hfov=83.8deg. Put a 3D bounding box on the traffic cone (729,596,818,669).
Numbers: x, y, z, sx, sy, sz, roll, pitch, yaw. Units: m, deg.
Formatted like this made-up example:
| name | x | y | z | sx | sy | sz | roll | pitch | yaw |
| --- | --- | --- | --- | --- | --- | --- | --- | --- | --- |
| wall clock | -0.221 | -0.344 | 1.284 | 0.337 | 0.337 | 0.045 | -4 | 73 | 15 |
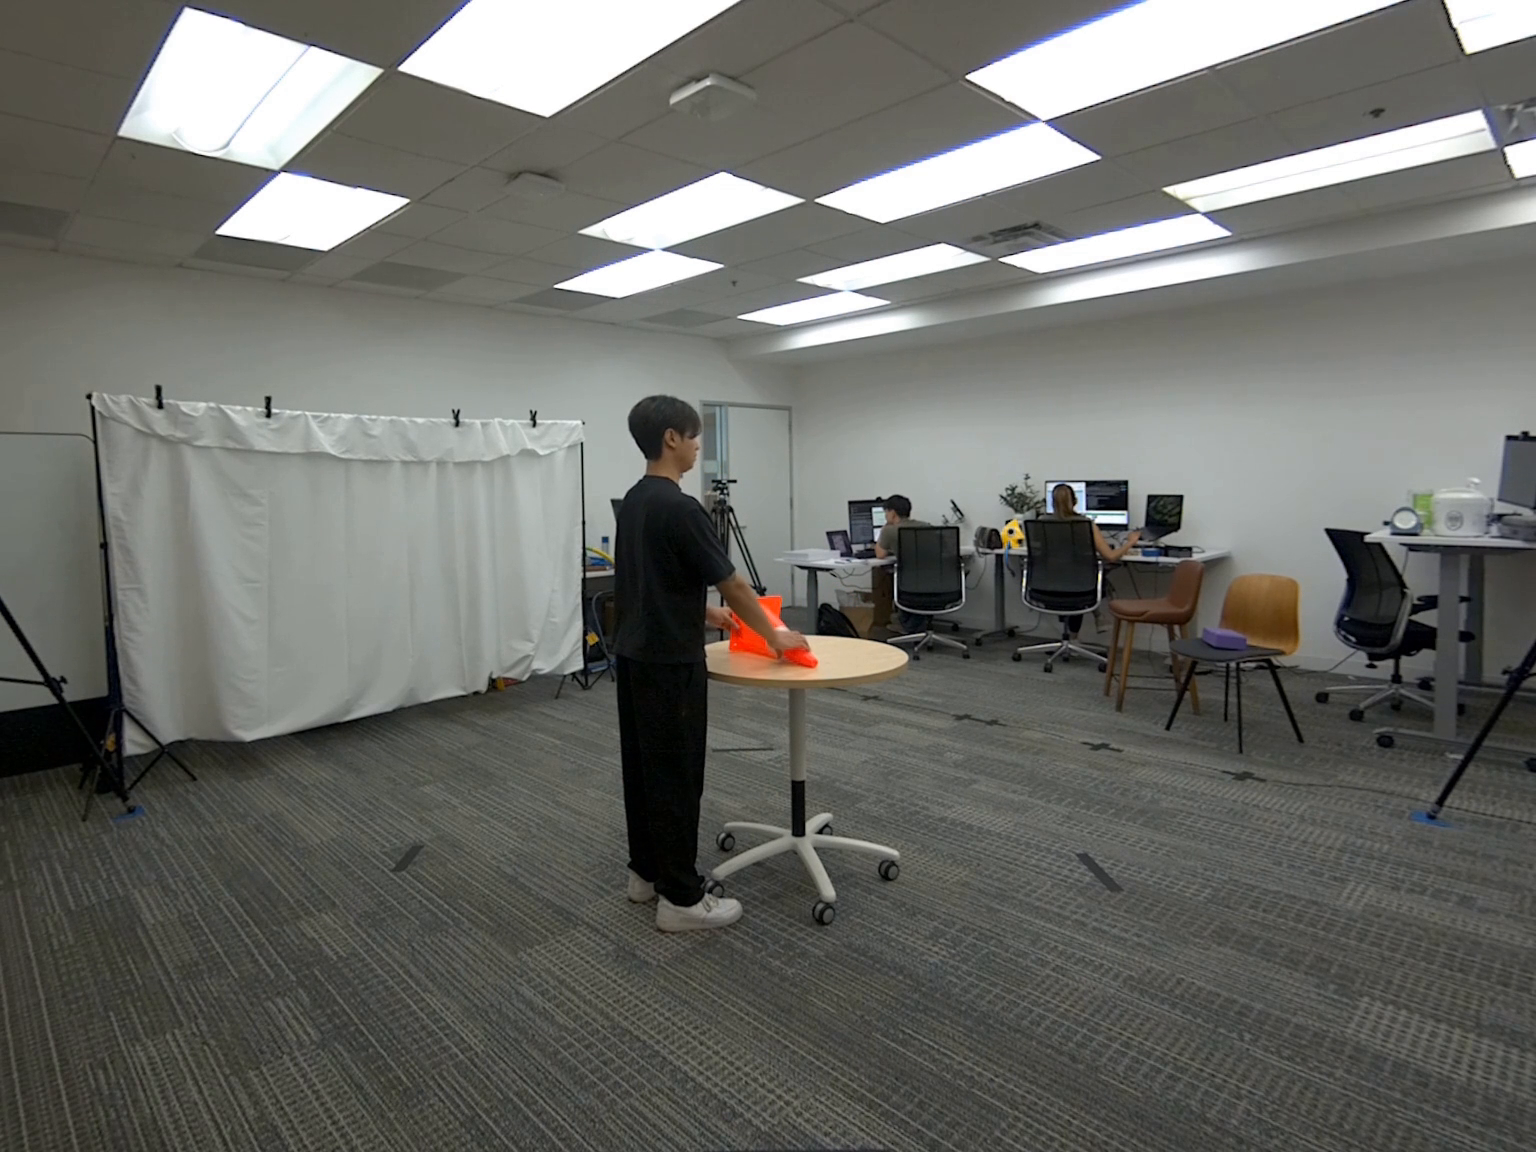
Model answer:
| name | x | y | z | sx | sy | sz | roll | pitch | yaw |
| --- | --- | --- | --- | --- | --- | --- | --- | --- | --- |
| traffic cone | 0.052 | 0.229 | 2.924 | 0.198 | 0.203 | 0.397 | -3 | 17 | -32 |
